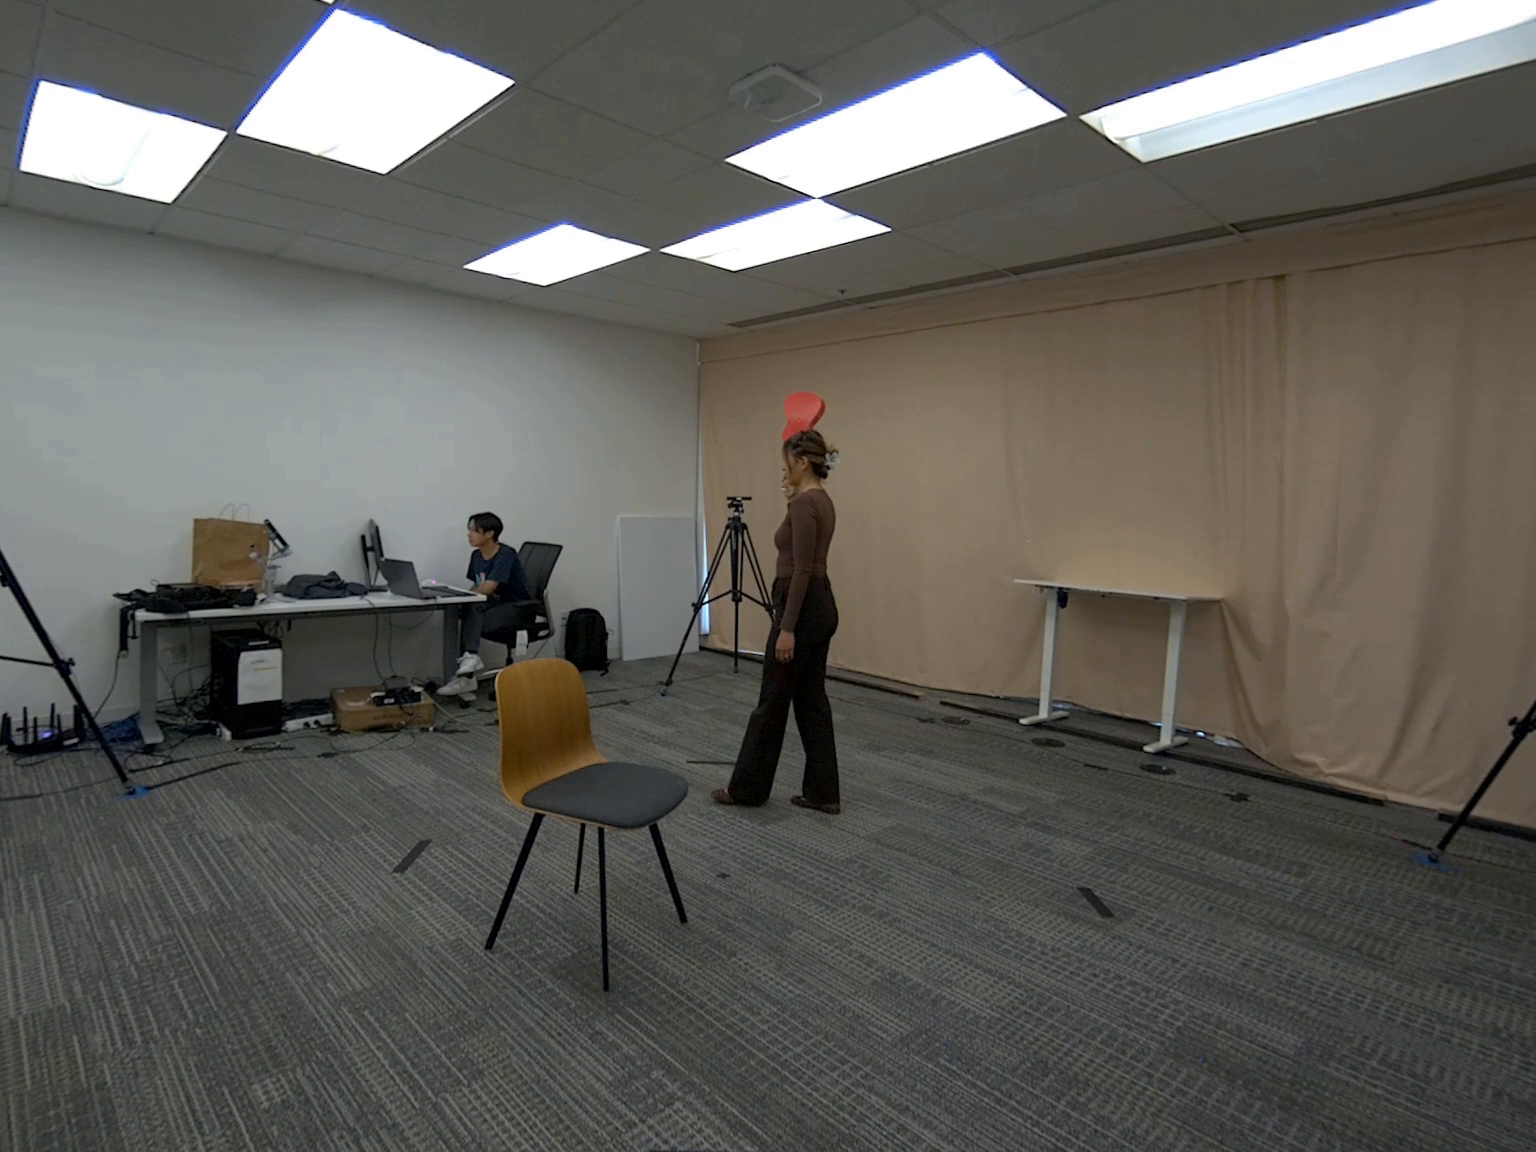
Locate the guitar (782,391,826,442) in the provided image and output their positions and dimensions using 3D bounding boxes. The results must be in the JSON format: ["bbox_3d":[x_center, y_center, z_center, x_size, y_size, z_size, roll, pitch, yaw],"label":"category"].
[{"bbox_3d":[0.150,-0.635,4.027,0.197,0.500,0.069,1,-8,29],"label":"guitar"}]
